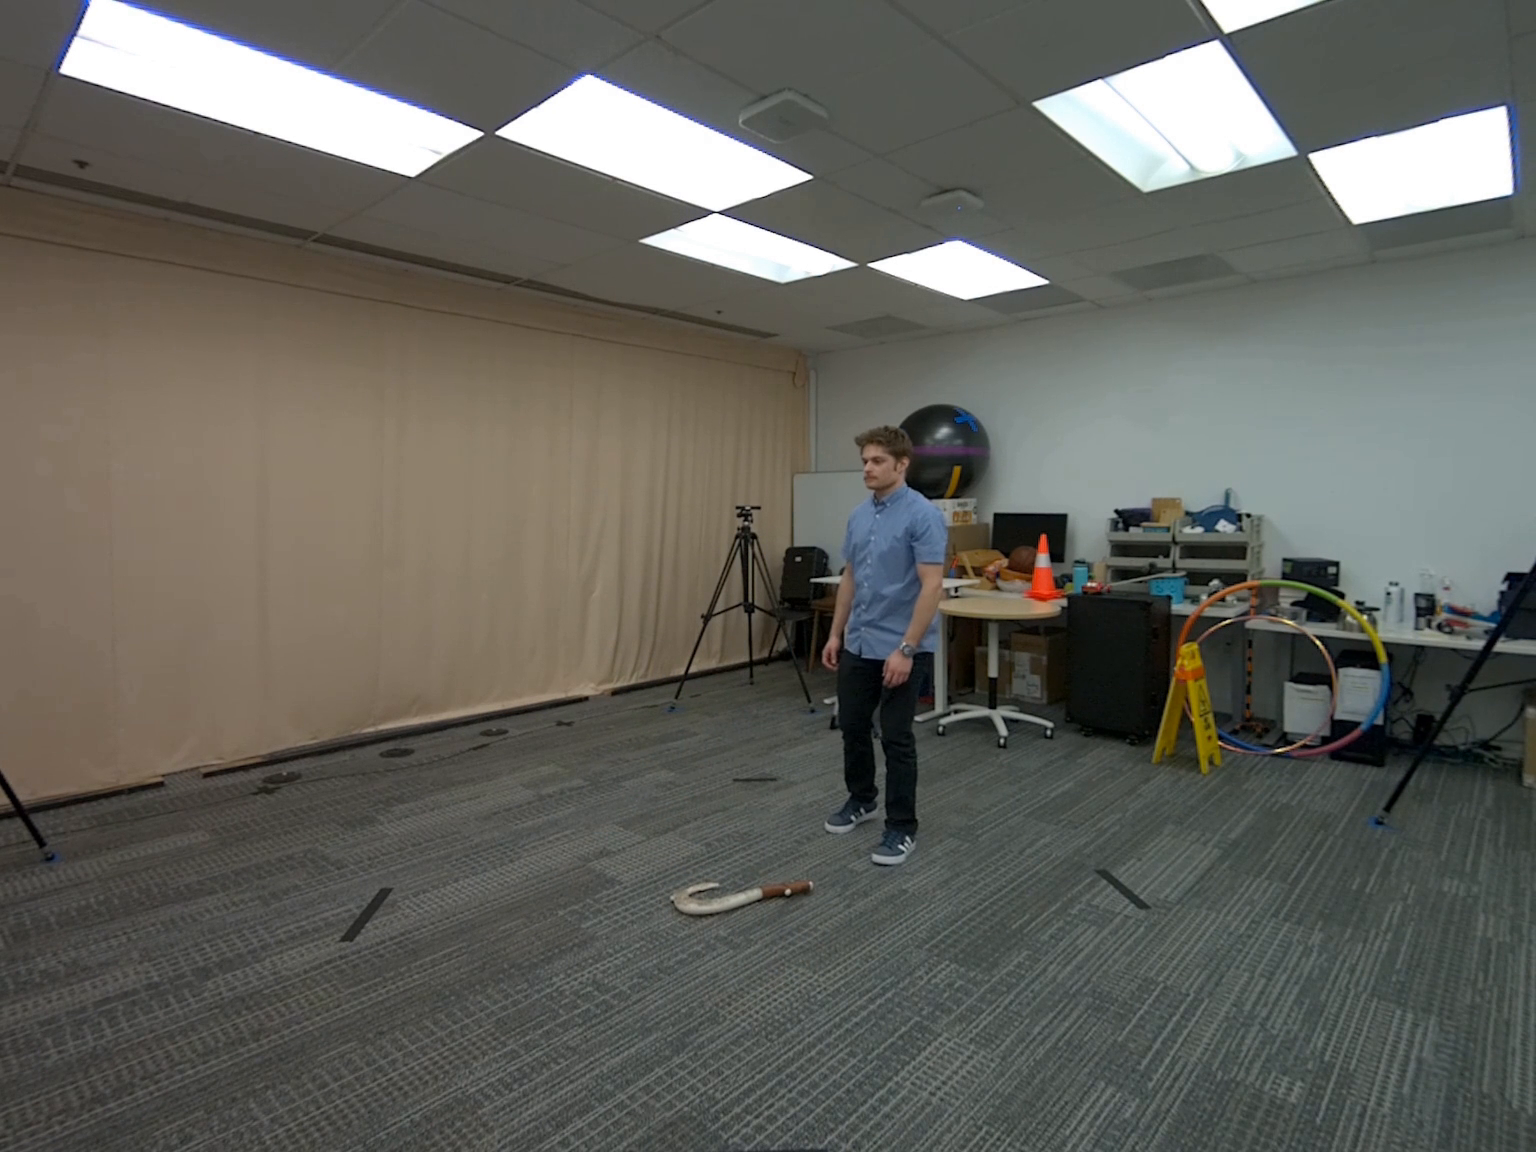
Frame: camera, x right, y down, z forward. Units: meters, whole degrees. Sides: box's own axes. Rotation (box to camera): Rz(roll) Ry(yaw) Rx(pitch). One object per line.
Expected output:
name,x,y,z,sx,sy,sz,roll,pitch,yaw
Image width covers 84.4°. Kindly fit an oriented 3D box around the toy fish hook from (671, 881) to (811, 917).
toy fish hook,-0.089,1.121,2.997,0.496,0.048,0.230,-1,5,-20
